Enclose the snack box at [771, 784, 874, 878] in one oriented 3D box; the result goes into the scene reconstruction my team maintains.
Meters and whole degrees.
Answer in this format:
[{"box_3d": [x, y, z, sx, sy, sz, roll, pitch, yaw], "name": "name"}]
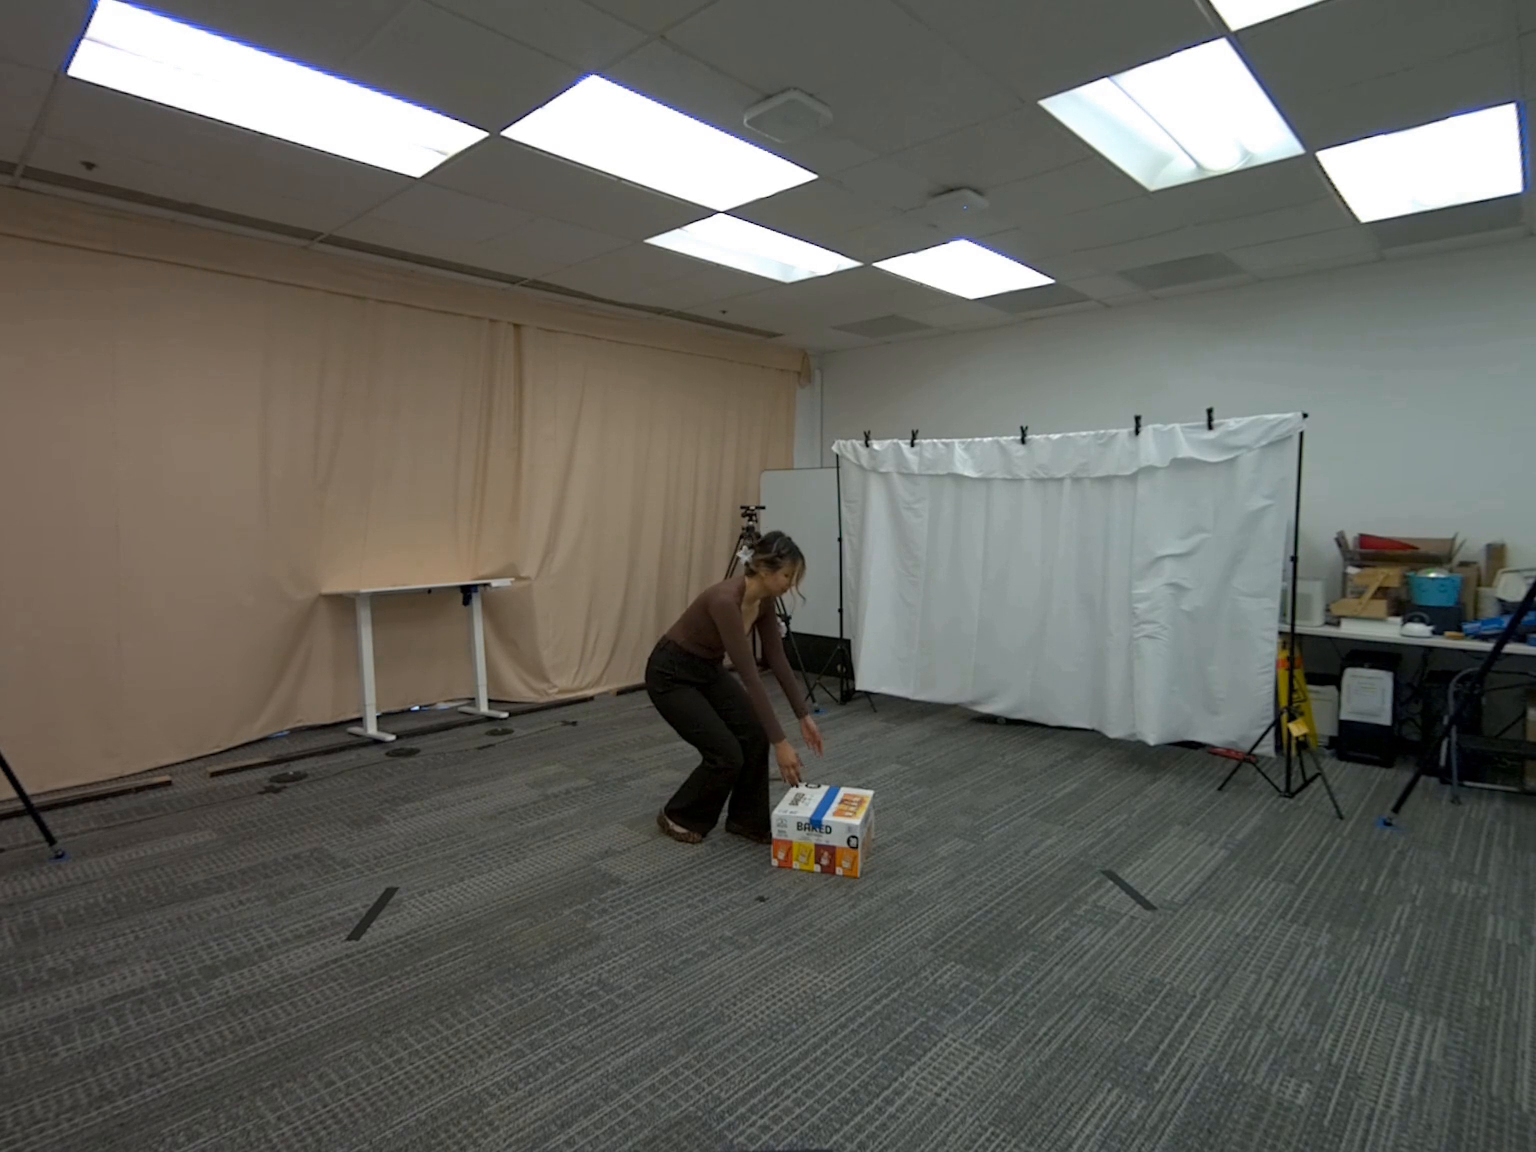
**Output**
[{"box_3d": [0.232, 1.007, 3.381, 0.347, 0.205, 0.398, 1, 4, 17], "name": "snack box"}]
